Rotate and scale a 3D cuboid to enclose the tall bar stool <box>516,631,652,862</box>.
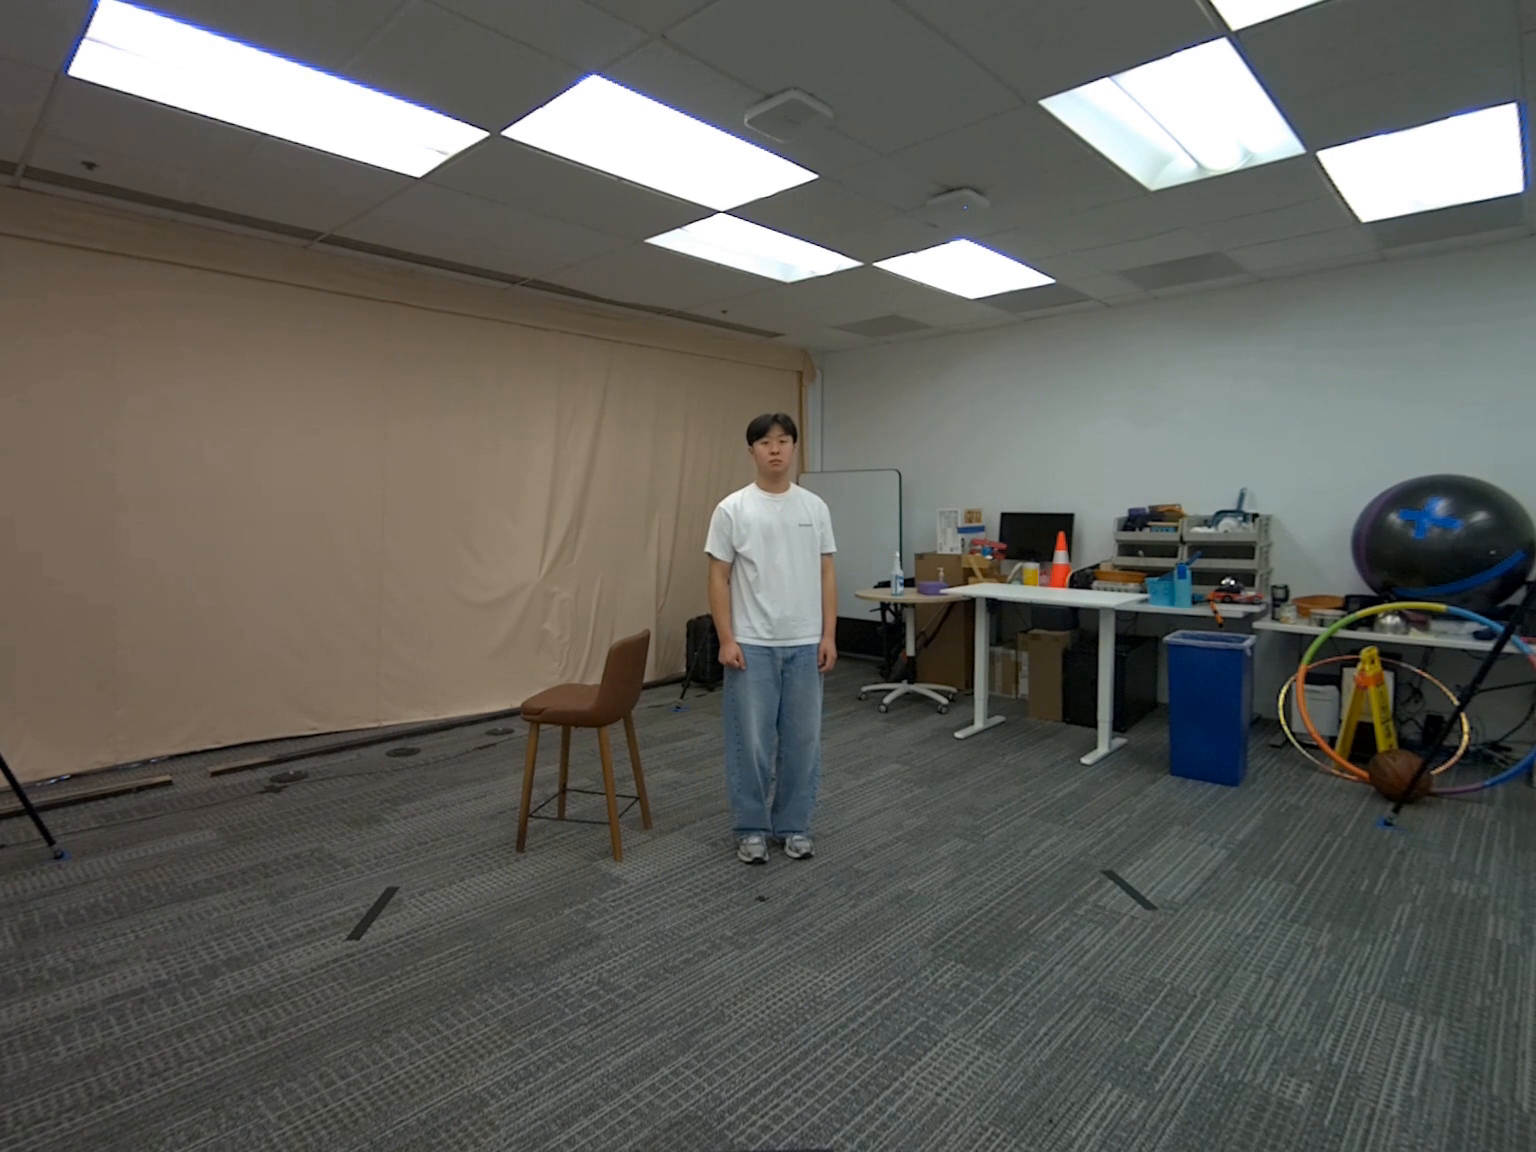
[{"bbox_3d":[-0.754,0.668,3.519,0.475,0.888,0.450,2,4,14],"label":"tall bar stool"}]
